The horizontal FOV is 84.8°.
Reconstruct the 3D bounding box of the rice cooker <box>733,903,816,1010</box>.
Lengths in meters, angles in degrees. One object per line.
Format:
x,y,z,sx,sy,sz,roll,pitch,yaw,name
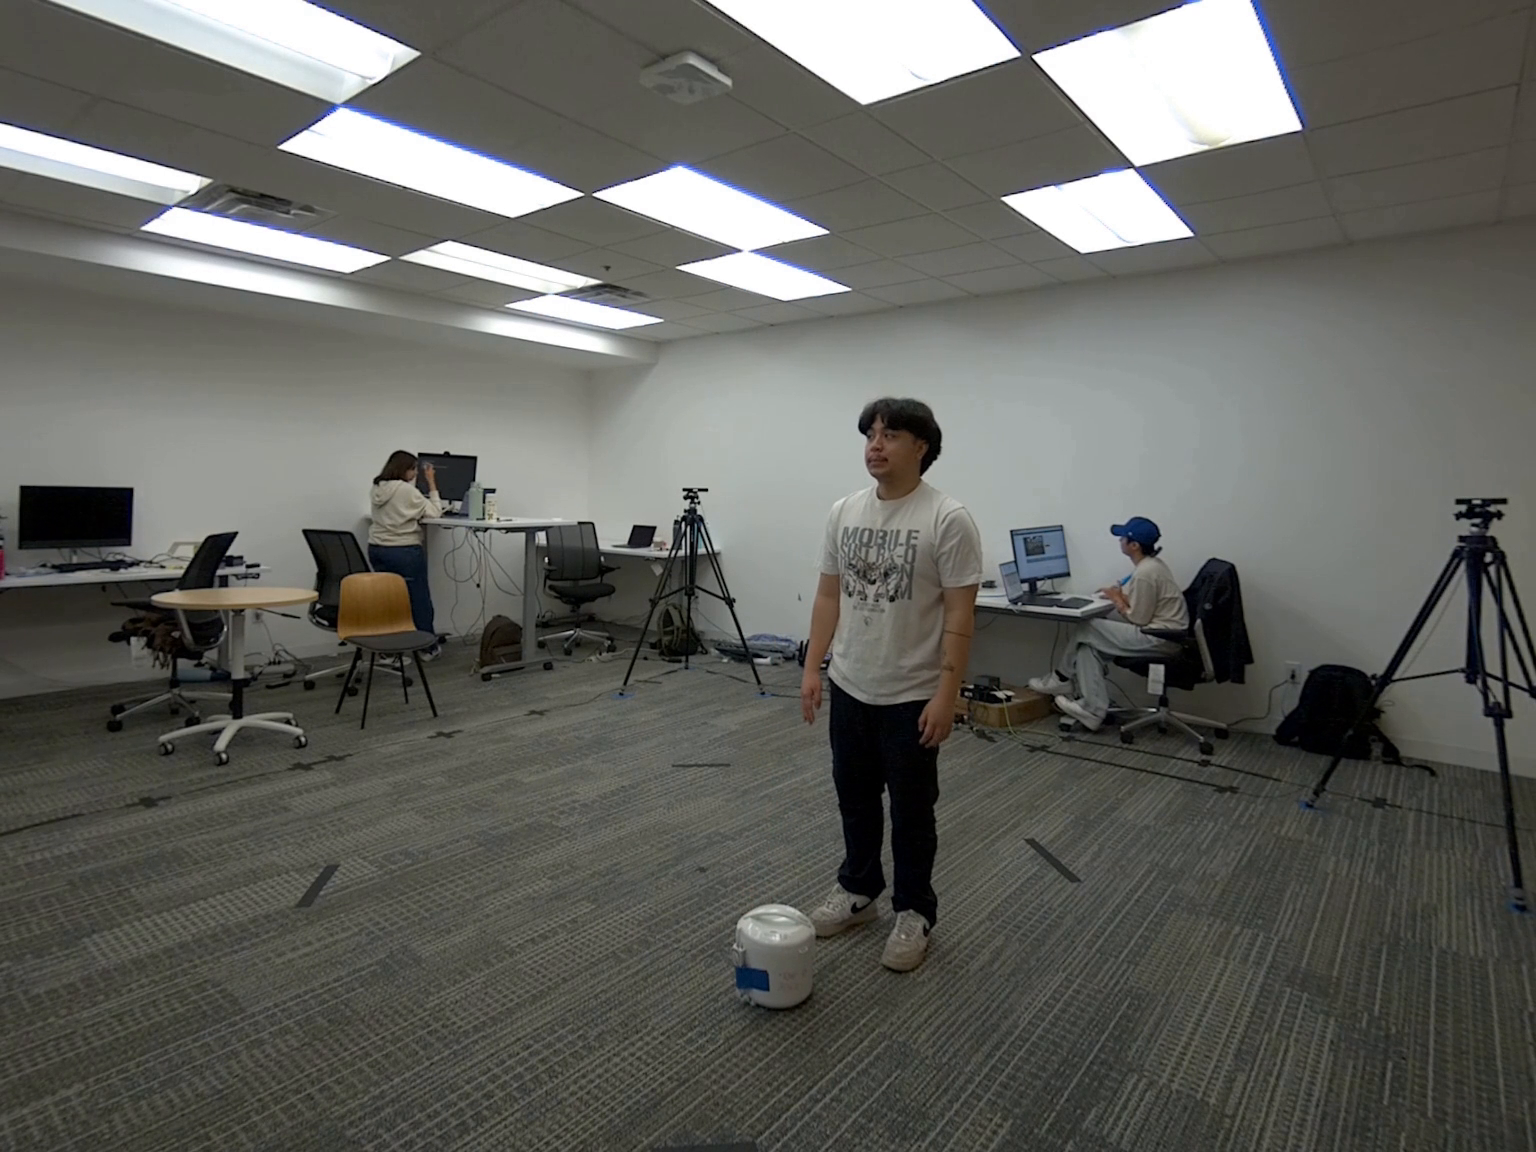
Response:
0.013,1.031,2.357,0.223,0.232,0.216,2,5,9,rice cooker
